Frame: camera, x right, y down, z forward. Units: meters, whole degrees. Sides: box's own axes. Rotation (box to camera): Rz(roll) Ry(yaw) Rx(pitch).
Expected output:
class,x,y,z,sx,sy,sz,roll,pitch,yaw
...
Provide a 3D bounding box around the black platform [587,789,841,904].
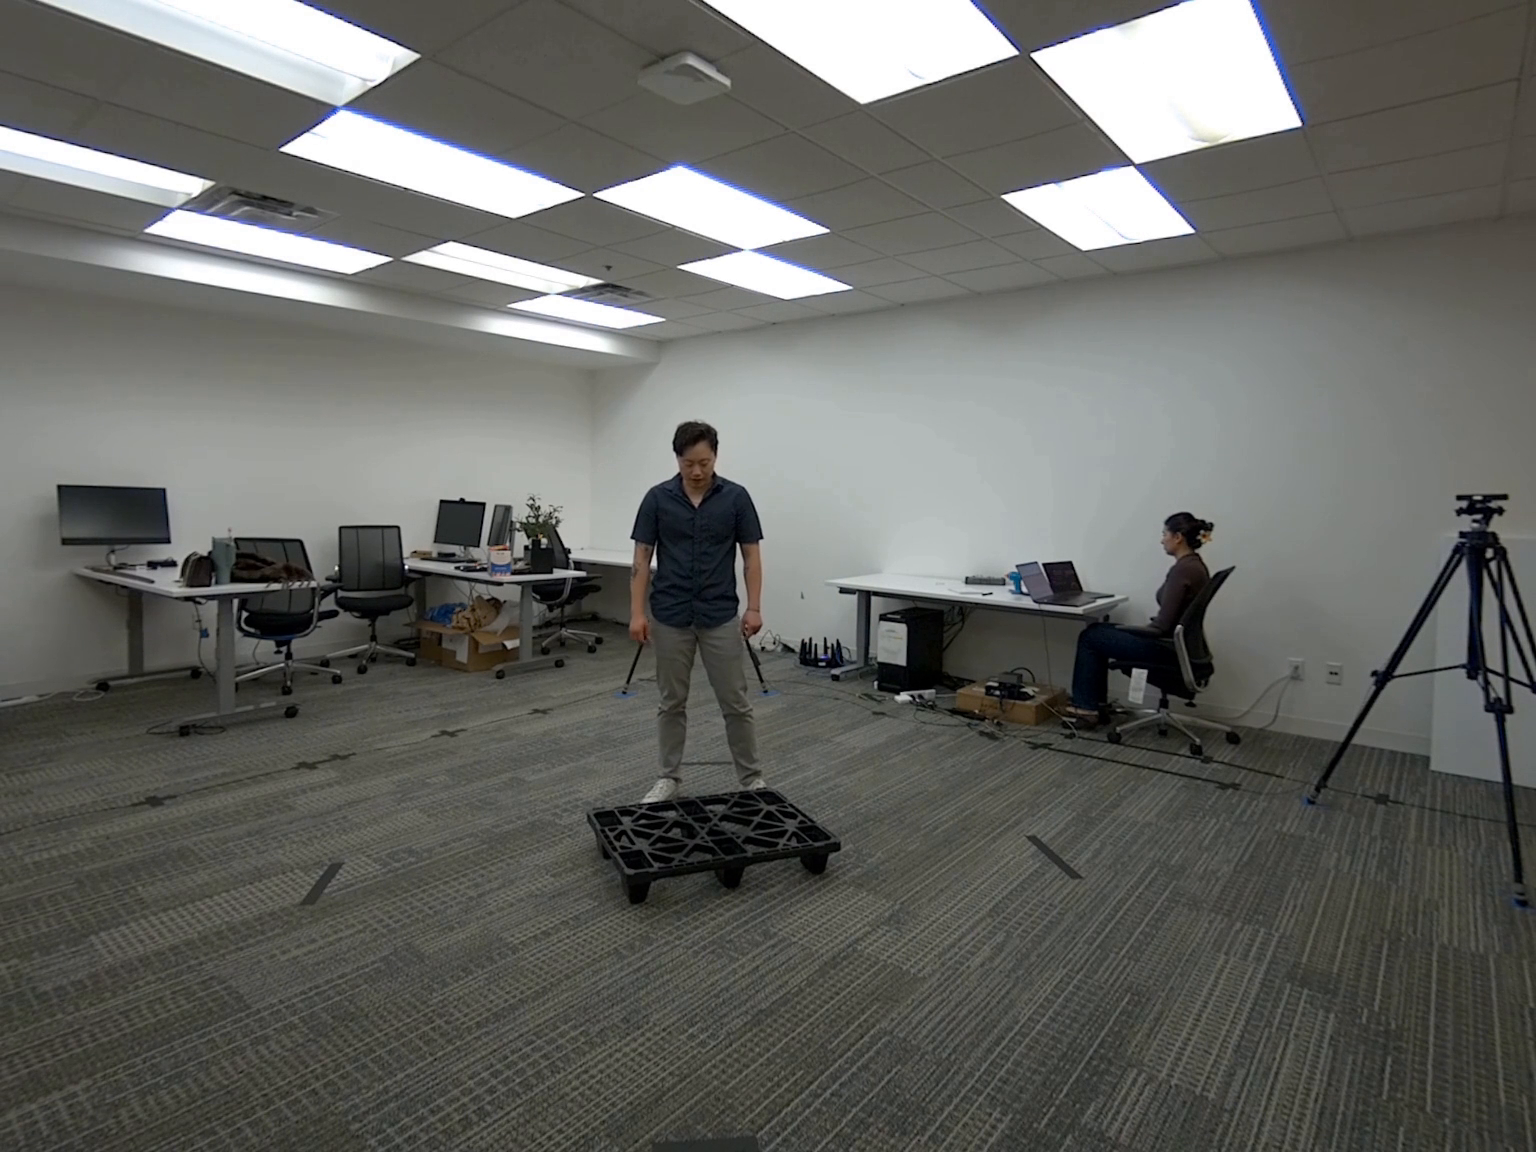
class,x,y,z,sx,sy,sz,roll,pitch,yaw
black platform,-0.226,0.990,3.171,0.788,0.143,0.621,-2,7,-23
